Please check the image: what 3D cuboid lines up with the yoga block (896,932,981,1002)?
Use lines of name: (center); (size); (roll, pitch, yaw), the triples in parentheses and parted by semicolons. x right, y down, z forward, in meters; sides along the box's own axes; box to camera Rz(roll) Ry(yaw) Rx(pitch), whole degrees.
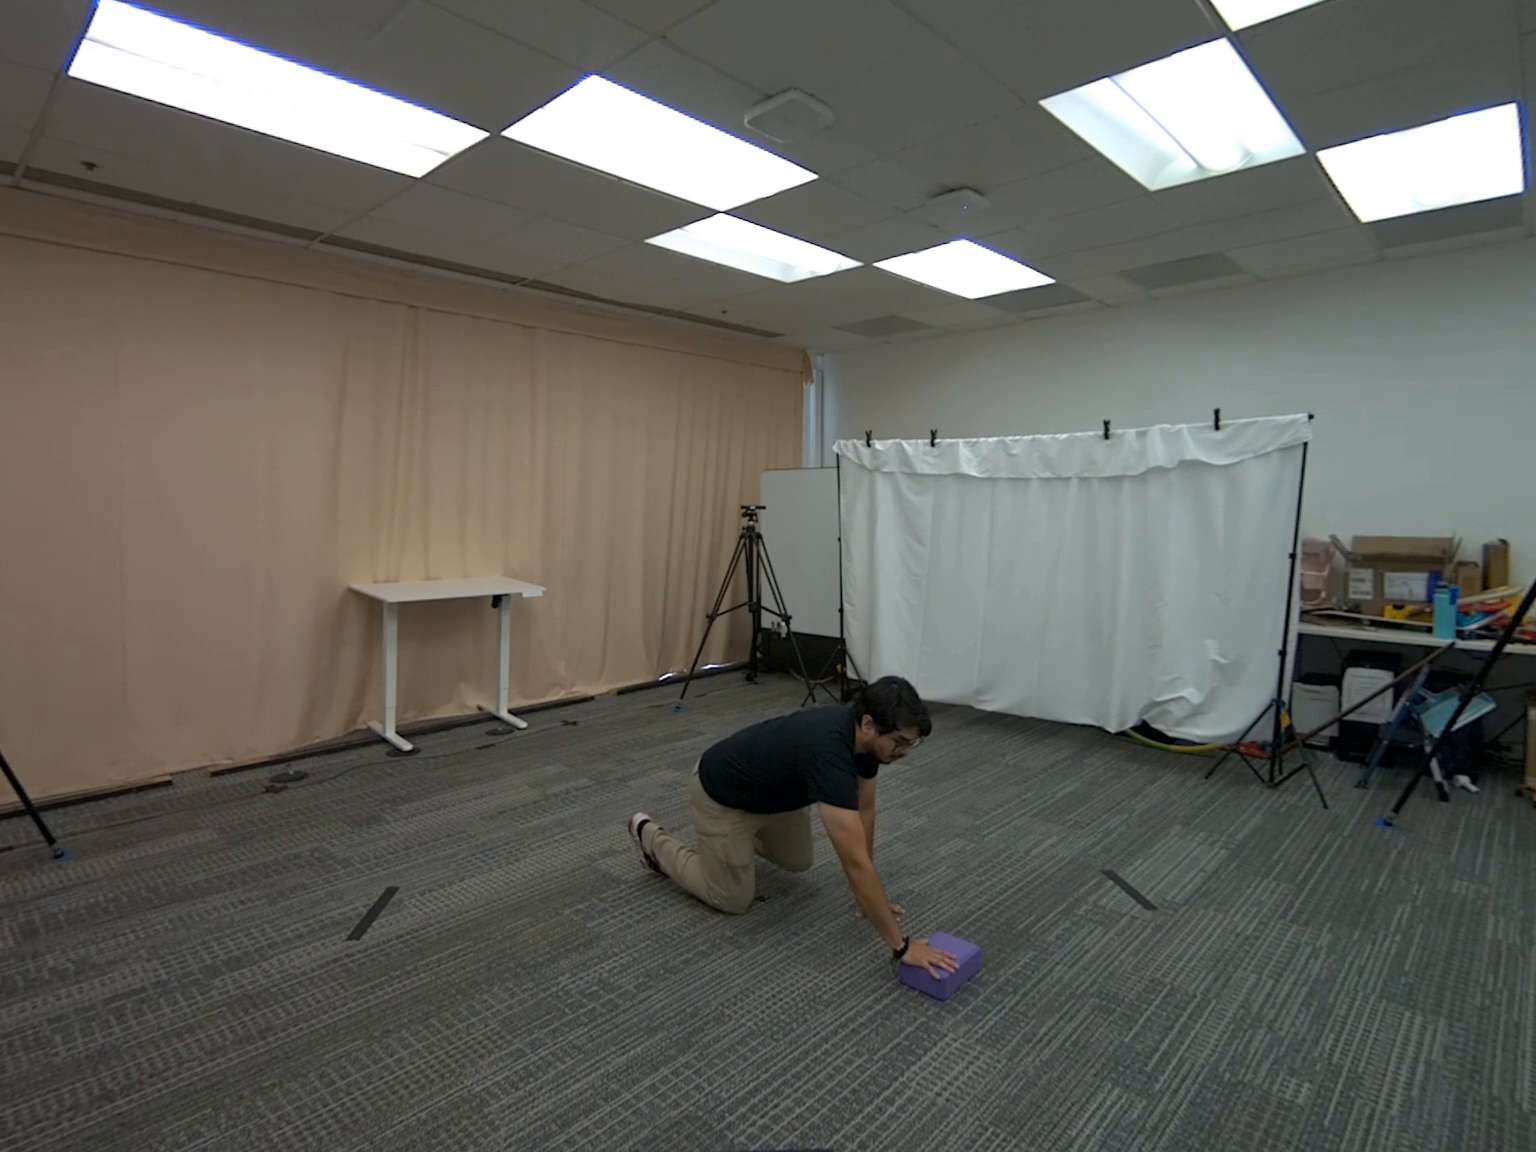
yoga block: (0.514, 1.142, 2.484); (0.154, 0.076, 0.222); (5, 7, 41)
